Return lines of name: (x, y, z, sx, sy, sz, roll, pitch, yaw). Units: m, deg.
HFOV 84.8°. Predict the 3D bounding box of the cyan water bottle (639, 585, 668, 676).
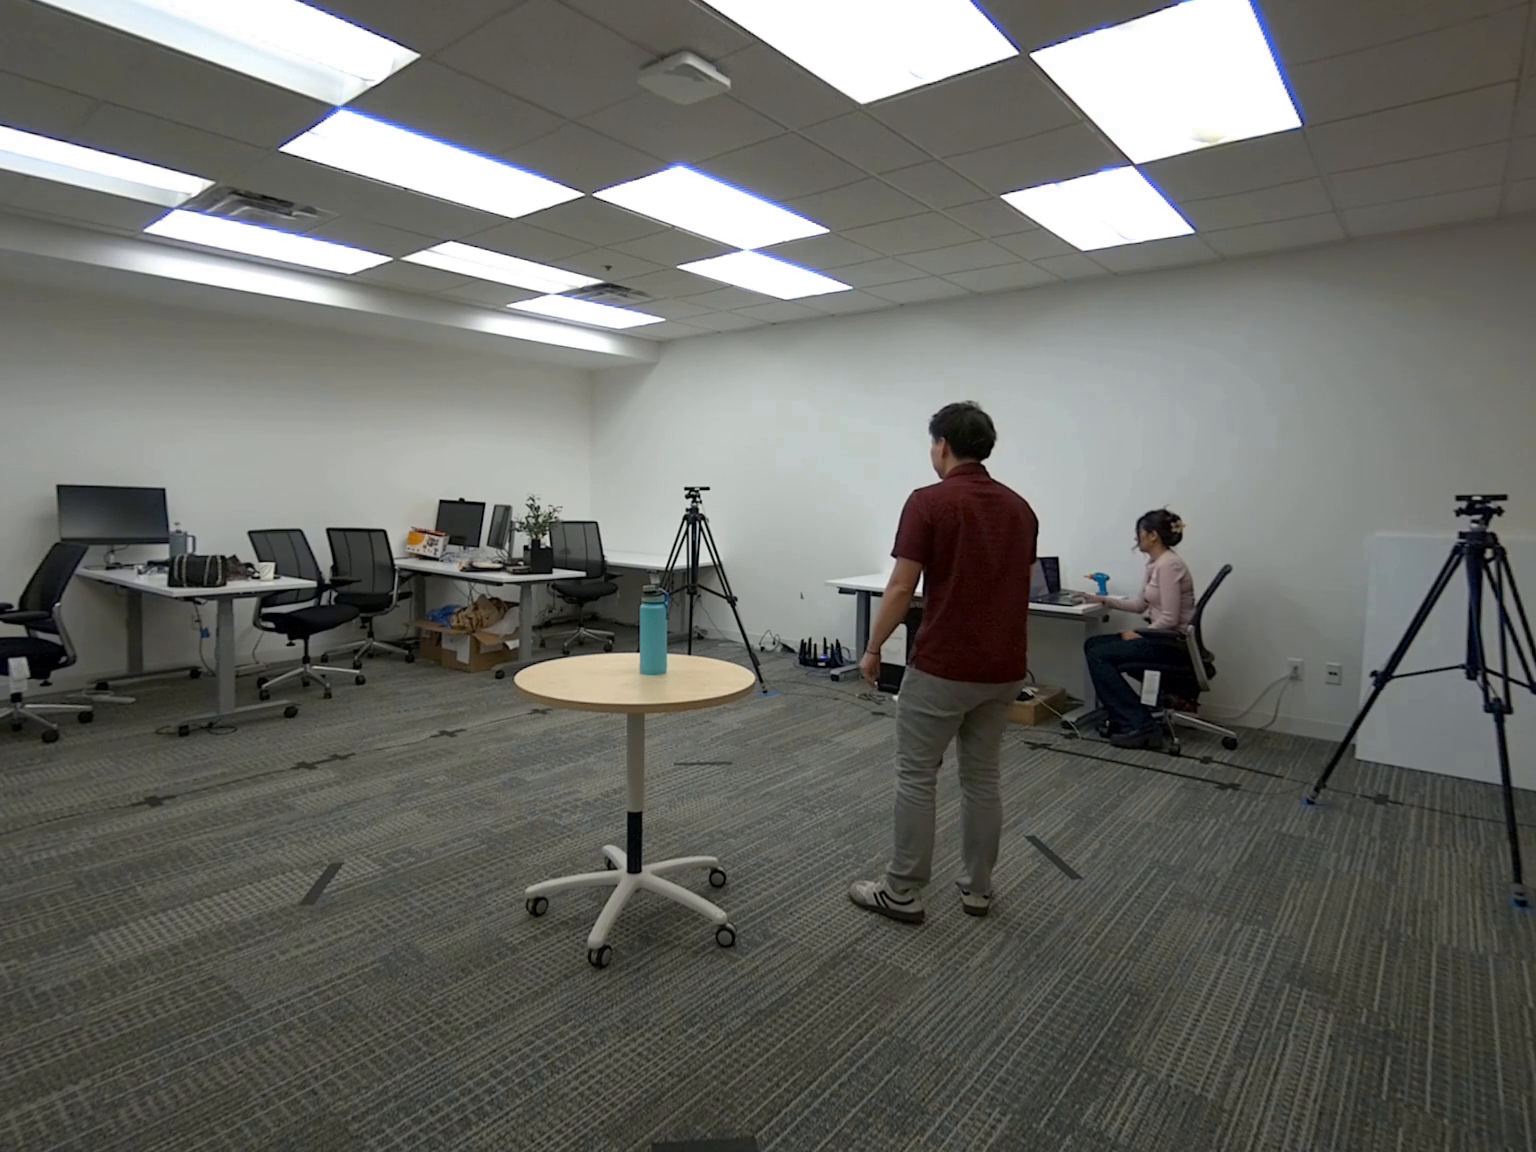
cyan water bottle: (-0.382, 0.174, 2.780, 0.092, 0.283, 0.092, 3, 1, -2)
